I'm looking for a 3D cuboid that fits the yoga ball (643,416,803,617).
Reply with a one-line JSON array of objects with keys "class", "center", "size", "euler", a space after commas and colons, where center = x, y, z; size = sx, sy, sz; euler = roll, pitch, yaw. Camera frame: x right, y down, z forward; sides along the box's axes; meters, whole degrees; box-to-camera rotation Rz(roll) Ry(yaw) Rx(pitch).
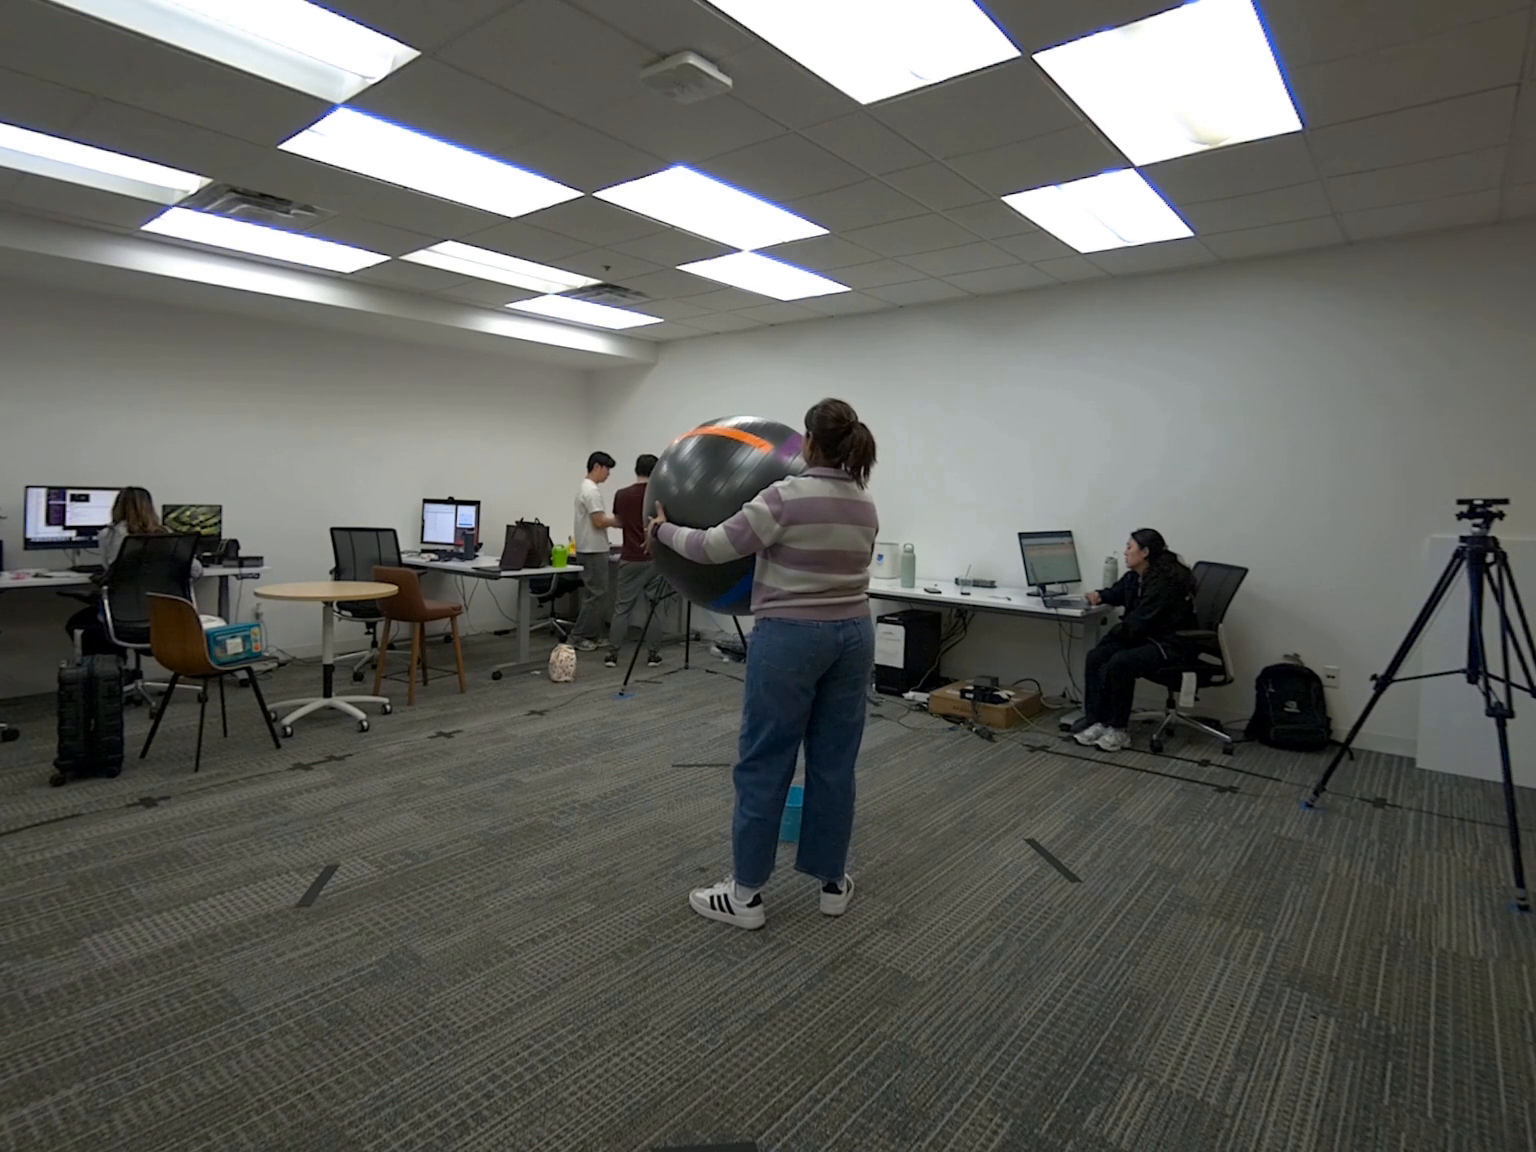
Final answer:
[{"class": "yoga ball", "center": [-0.110, -0.230, 3.238], "size": [0.757, 0.756, 0.761], "euler": [1, 4, -2]}]
